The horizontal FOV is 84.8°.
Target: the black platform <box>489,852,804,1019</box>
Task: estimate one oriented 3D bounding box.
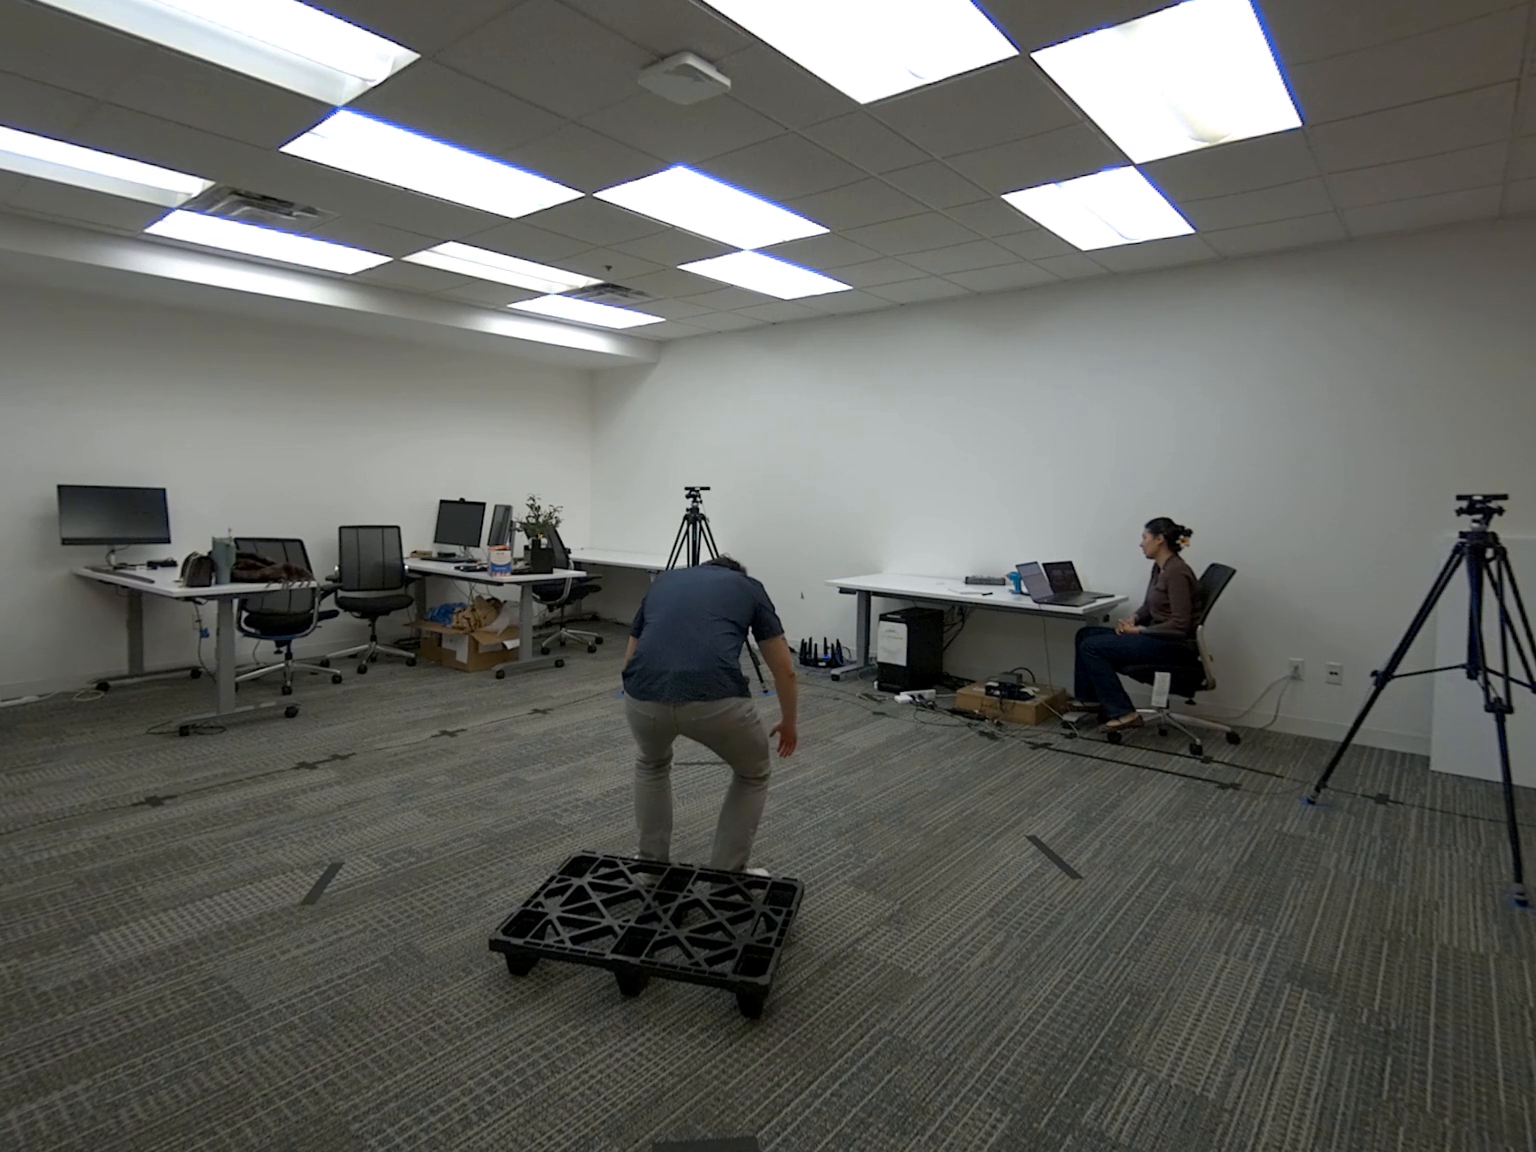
[{"bbox_3d":[-0.344,1.052,2.548,0.818,0.143,0.598,2,6,14],"label":"black platform"}]
